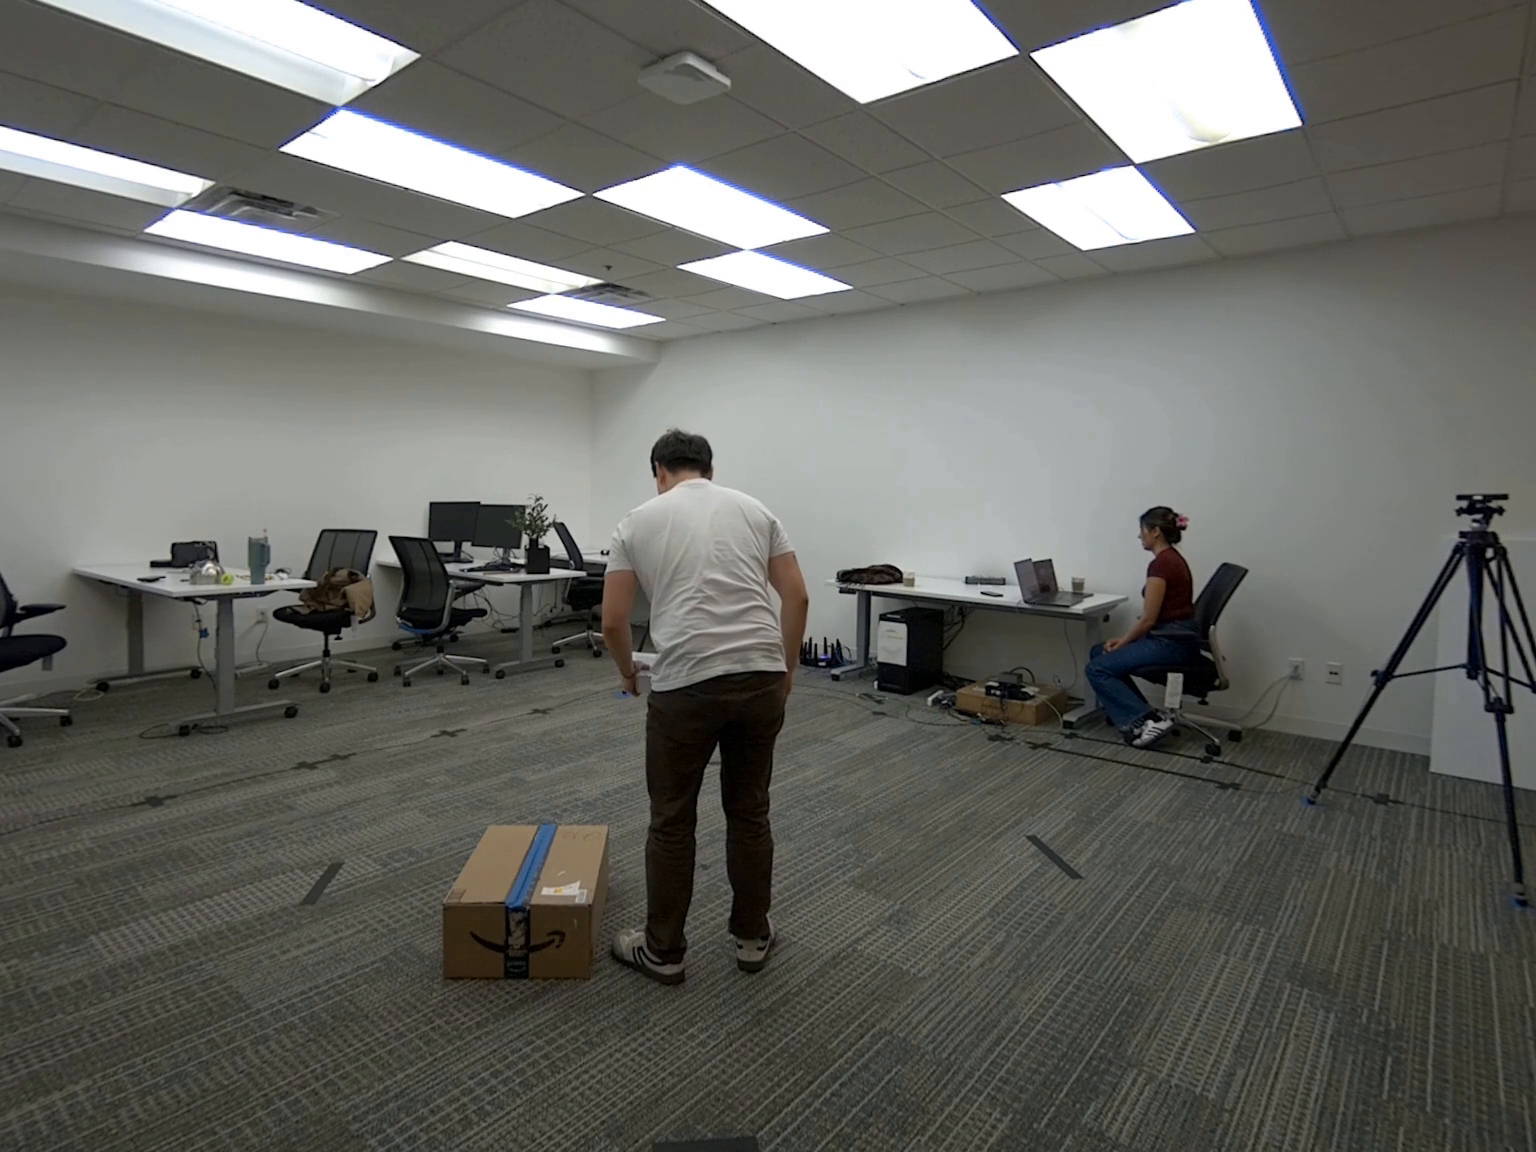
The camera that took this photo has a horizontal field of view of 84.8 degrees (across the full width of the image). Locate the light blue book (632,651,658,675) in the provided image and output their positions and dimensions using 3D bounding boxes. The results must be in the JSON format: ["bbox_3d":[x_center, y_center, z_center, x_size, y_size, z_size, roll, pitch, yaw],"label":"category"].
[{"bbox_3d":[-0.352,0.324,2.727,0.188,0.059,0.267,6,8,-16],"label":"light blue book"}]
